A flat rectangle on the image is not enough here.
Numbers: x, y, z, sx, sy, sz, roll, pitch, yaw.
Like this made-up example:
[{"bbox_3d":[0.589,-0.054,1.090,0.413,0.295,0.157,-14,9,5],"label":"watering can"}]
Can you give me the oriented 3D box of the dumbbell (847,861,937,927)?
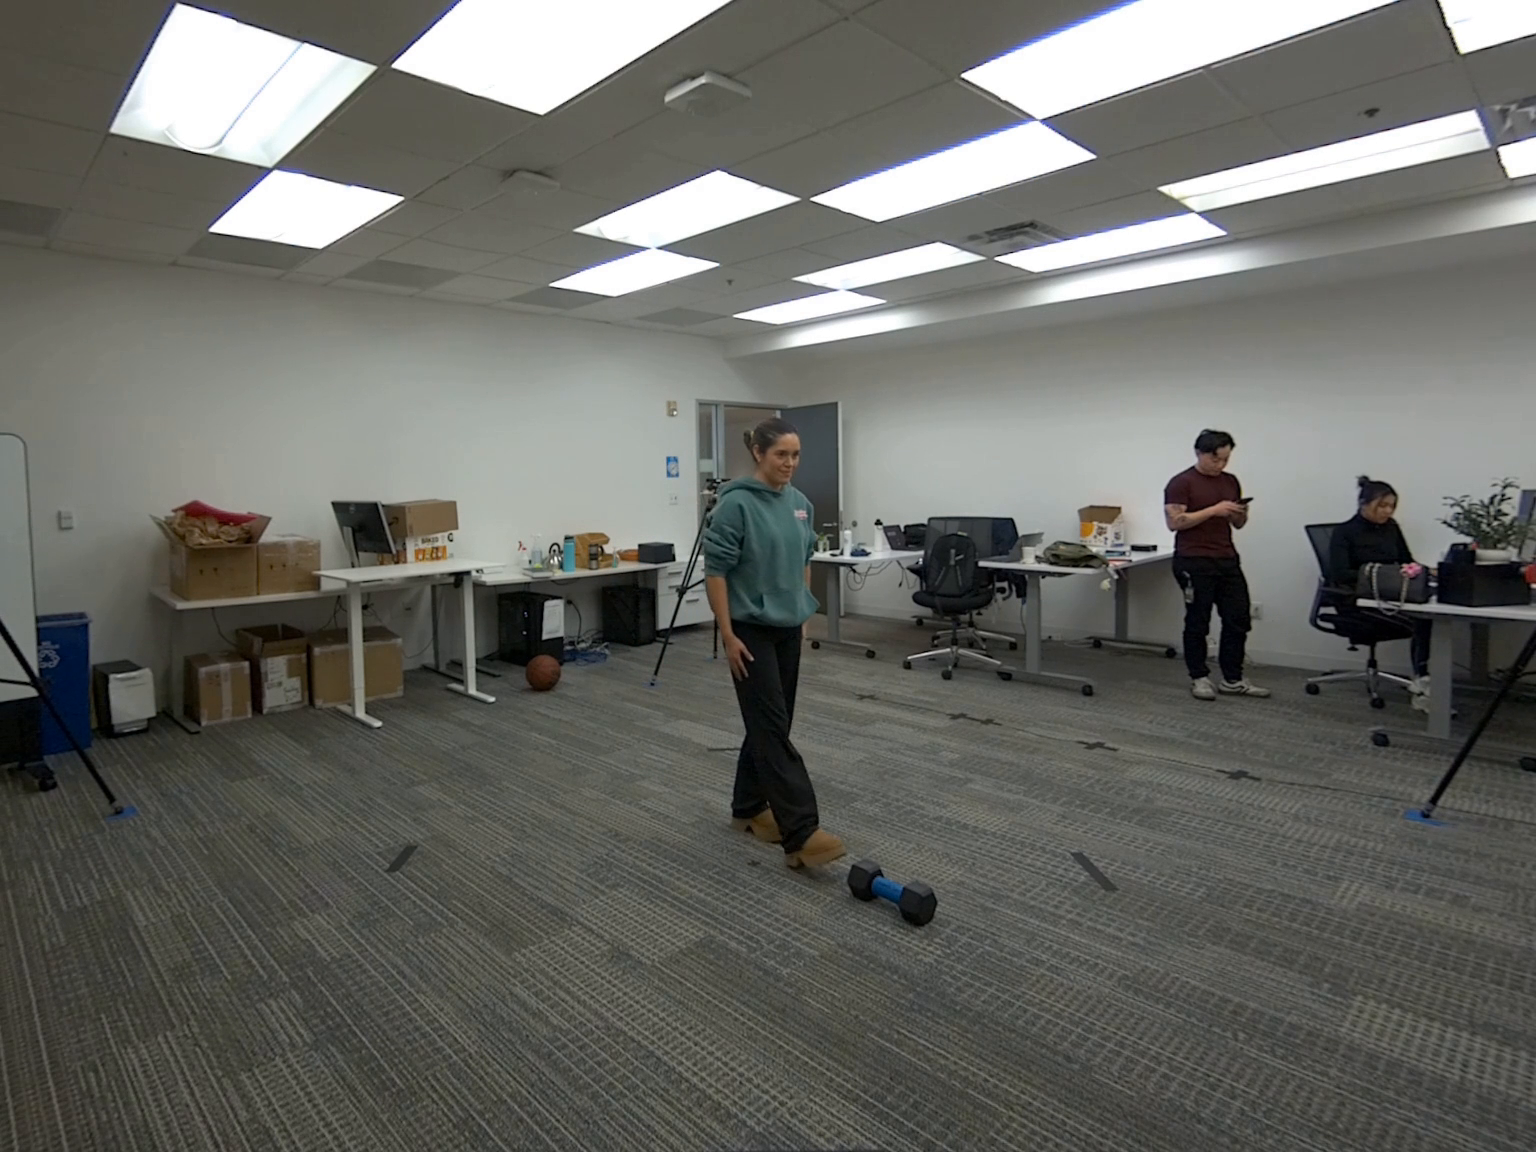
[{"bbox_3d":[0.405,1.023,2.761,0.303,0.124,0.105,6,-21,48],"label":"dumbbell"}]
